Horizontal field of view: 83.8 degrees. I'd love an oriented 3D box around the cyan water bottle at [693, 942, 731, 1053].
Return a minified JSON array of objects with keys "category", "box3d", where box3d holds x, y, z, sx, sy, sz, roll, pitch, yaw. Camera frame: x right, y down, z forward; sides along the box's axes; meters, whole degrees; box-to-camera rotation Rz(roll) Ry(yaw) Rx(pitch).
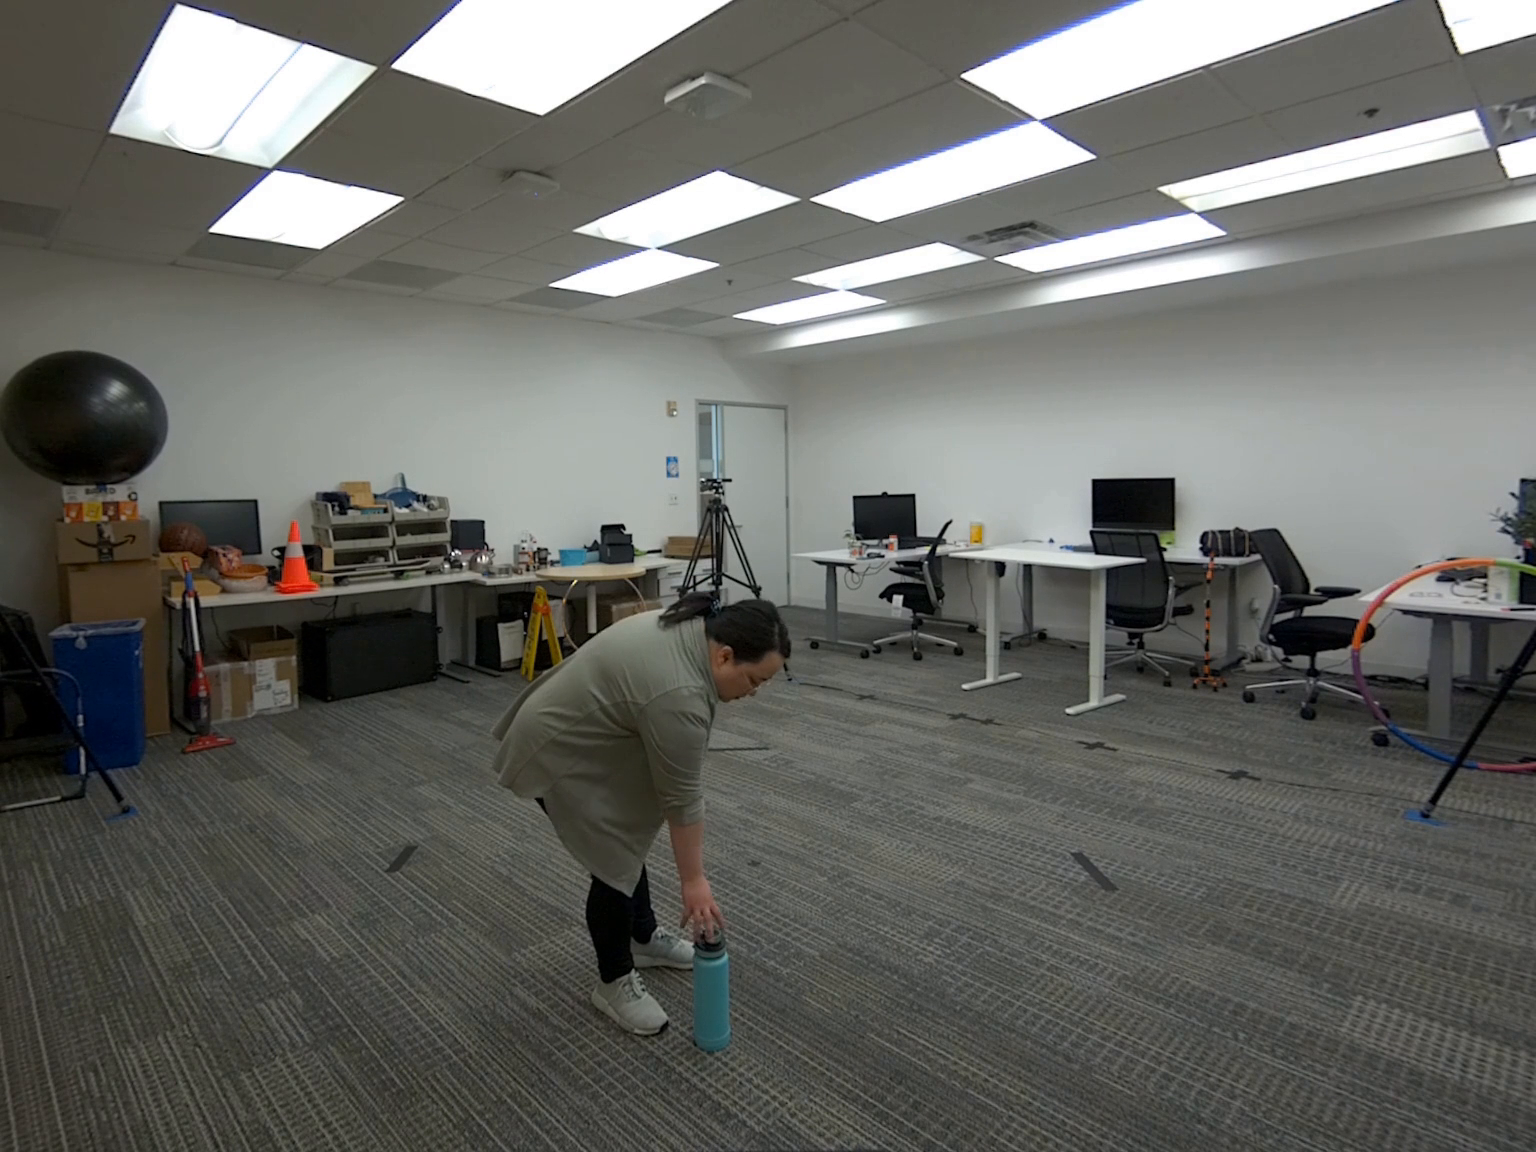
[{"category":"cyan water bottle","box3d":[-0.143,1.021,2.126,0.092,0.282,0.093,-4,5,-1]}]
